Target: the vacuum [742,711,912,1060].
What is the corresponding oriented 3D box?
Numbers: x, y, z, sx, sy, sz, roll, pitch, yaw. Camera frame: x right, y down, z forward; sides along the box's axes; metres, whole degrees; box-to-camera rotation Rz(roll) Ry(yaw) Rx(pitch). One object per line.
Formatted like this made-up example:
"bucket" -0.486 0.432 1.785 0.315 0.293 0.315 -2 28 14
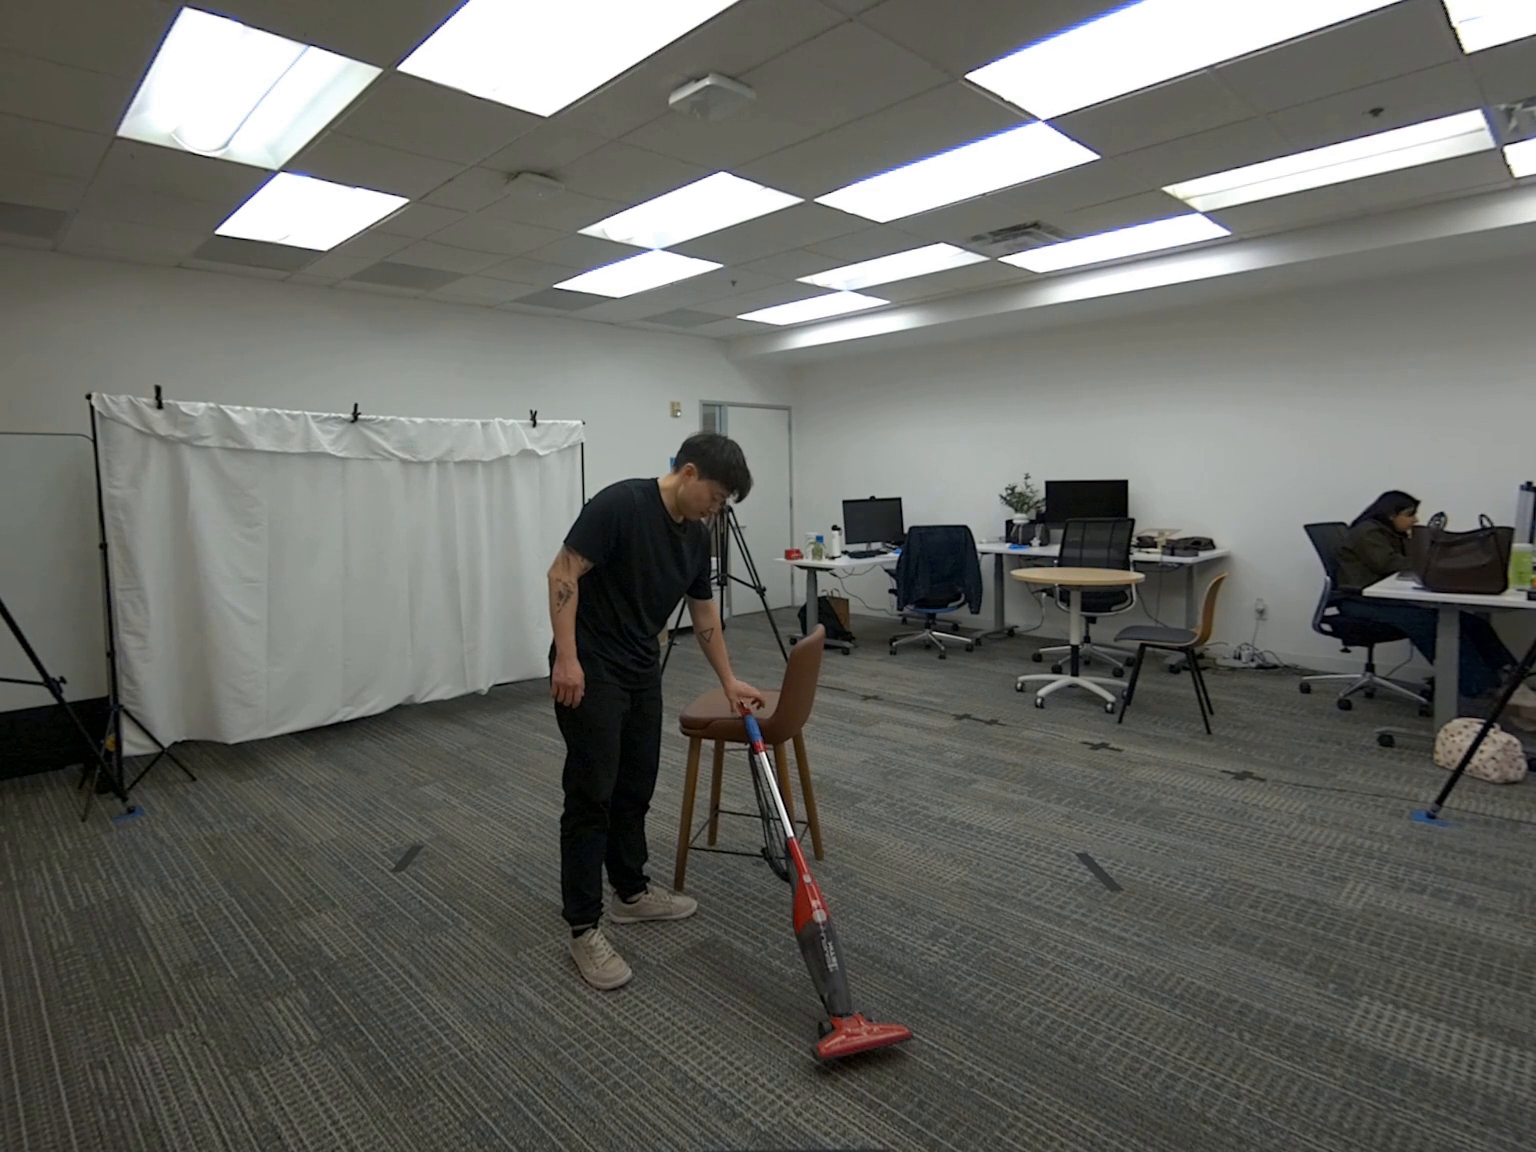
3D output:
"vacuum" 0.069 0.786 2.456 0.248 0.141 1.088 -4 42 -19
